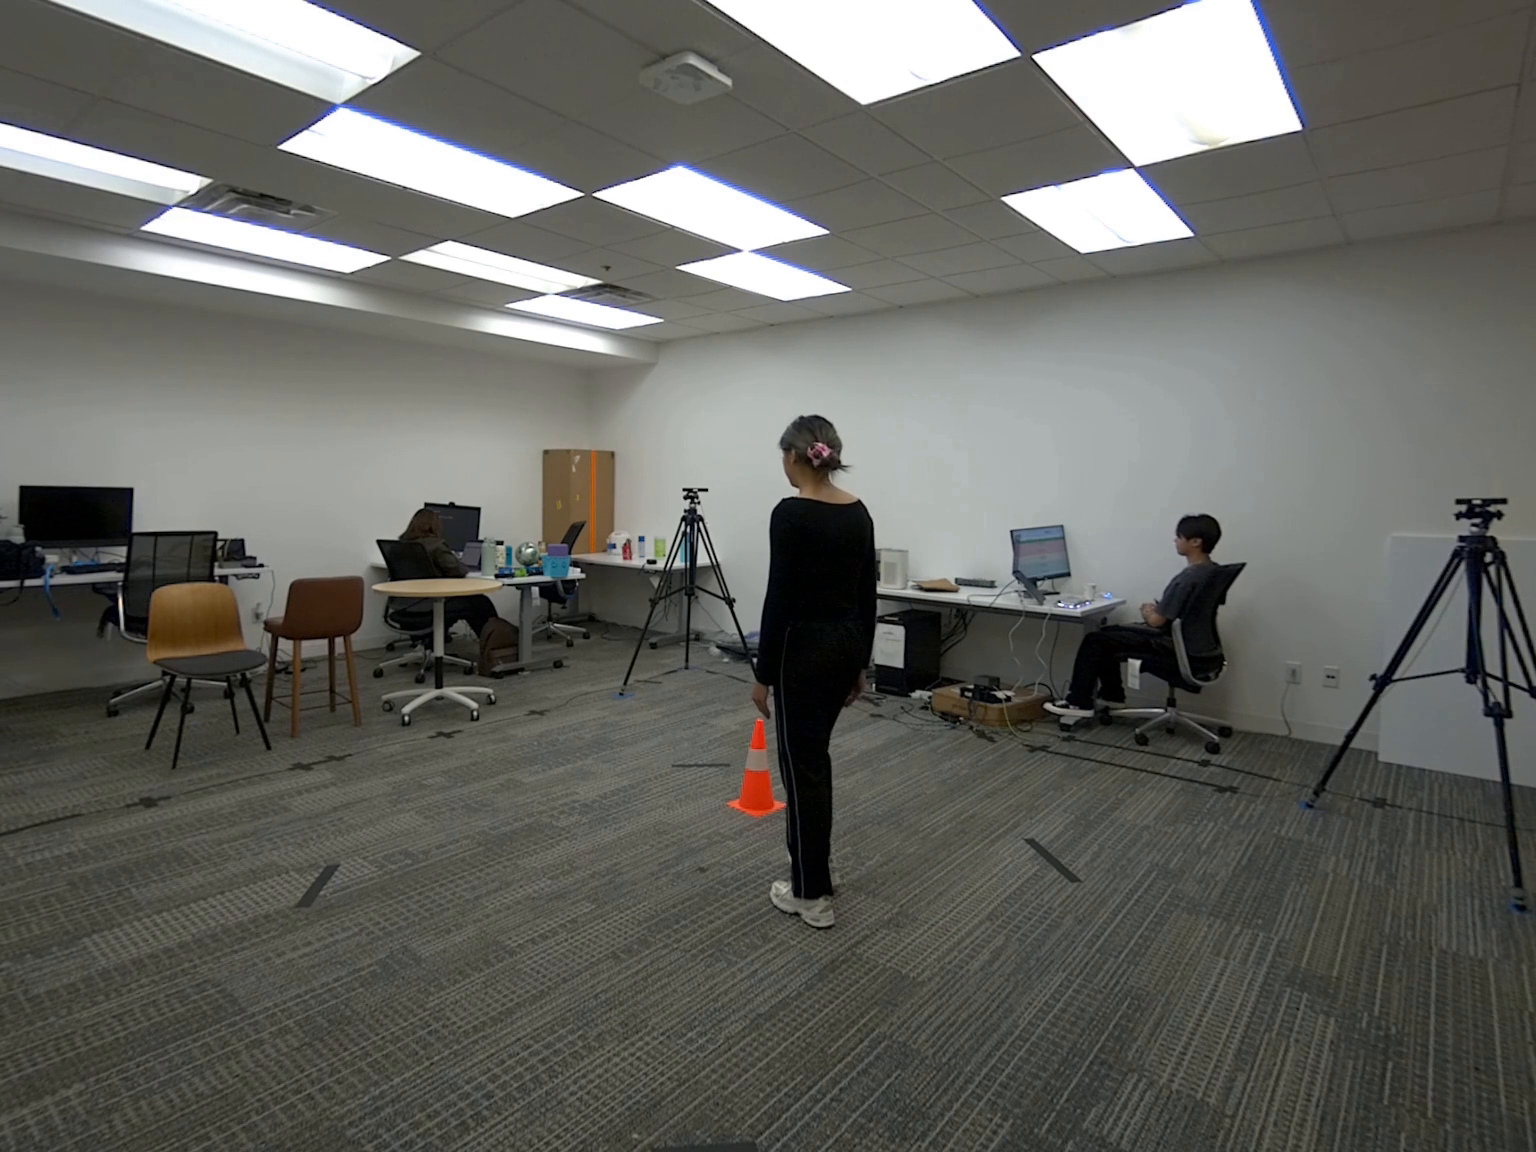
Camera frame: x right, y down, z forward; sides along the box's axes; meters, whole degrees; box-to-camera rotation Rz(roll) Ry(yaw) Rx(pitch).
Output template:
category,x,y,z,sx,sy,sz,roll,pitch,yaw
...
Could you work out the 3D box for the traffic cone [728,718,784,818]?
category,x,y,z,sx,sy,sz,roll,pitch,yaw
traffic cone,-0.054,0.823,3.753,0.212,0.382,0.197,5,5,43
